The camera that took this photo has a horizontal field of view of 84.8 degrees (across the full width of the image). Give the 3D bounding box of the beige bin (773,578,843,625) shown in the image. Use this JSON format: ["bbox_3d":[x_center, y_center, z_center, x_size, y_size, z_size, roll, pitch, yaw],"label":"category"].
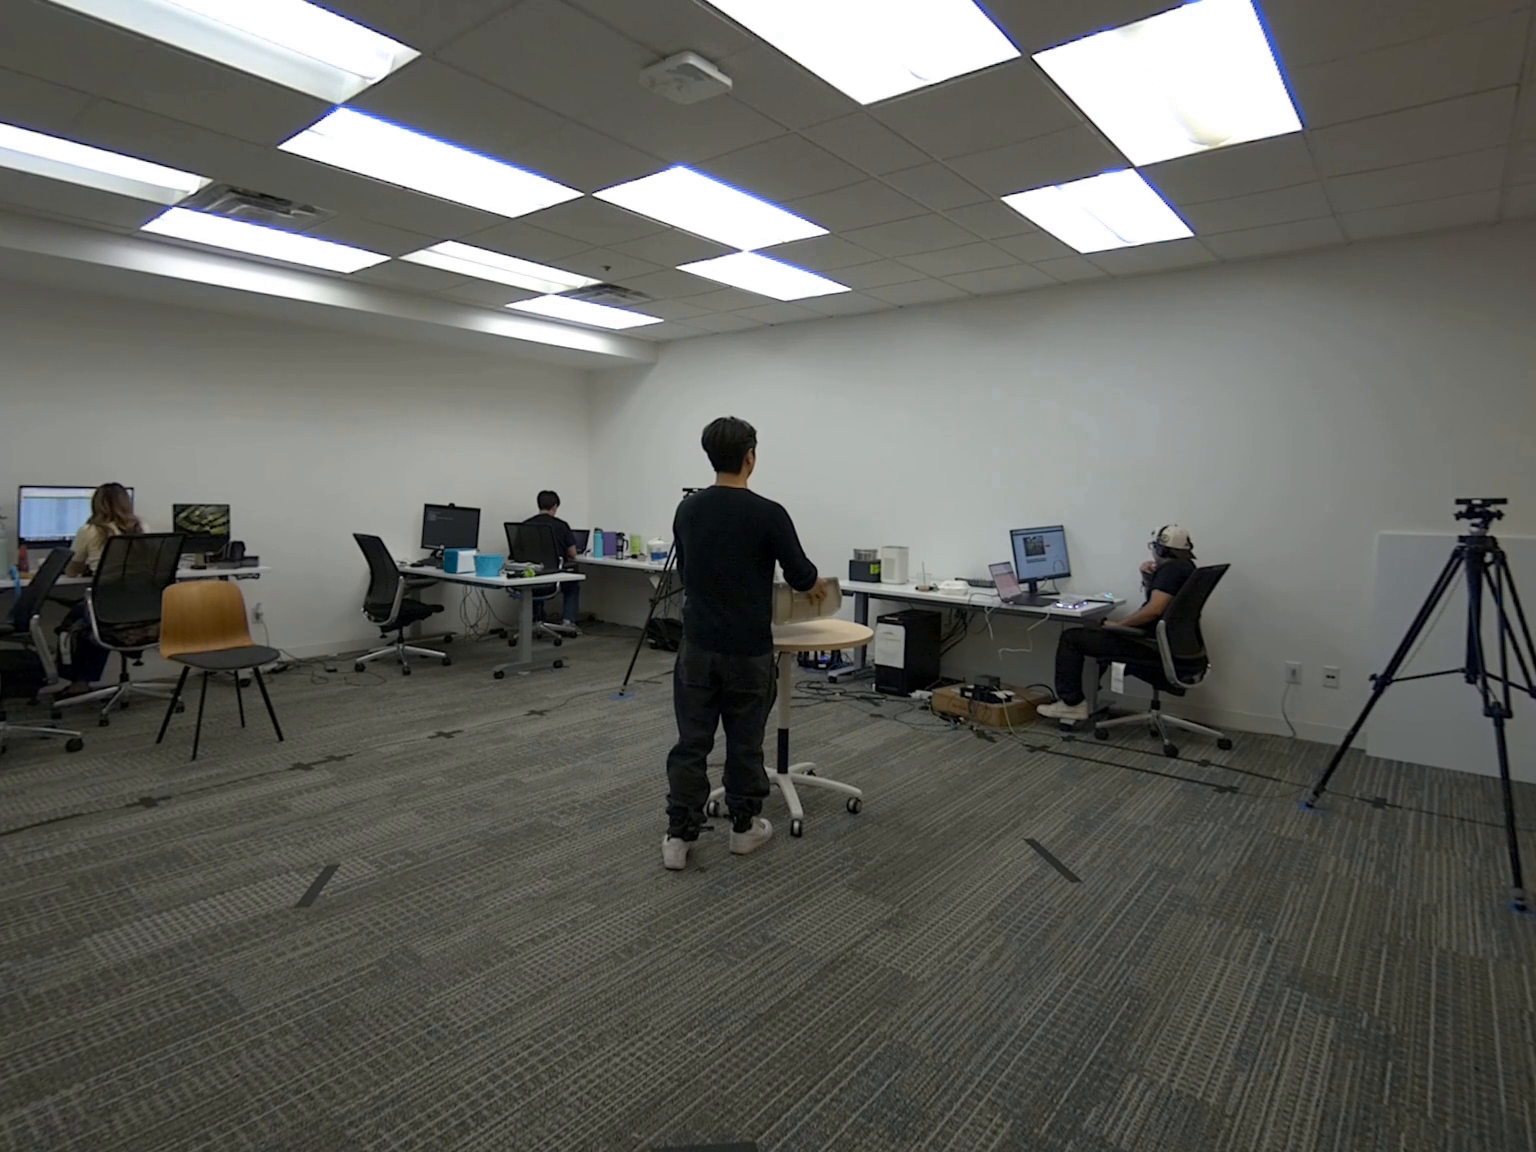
[{"bbox_3d":[0.039,0.071,3.727,0.367,0.187,0.437,-6,11,-37],"label":"beige bin"}]
